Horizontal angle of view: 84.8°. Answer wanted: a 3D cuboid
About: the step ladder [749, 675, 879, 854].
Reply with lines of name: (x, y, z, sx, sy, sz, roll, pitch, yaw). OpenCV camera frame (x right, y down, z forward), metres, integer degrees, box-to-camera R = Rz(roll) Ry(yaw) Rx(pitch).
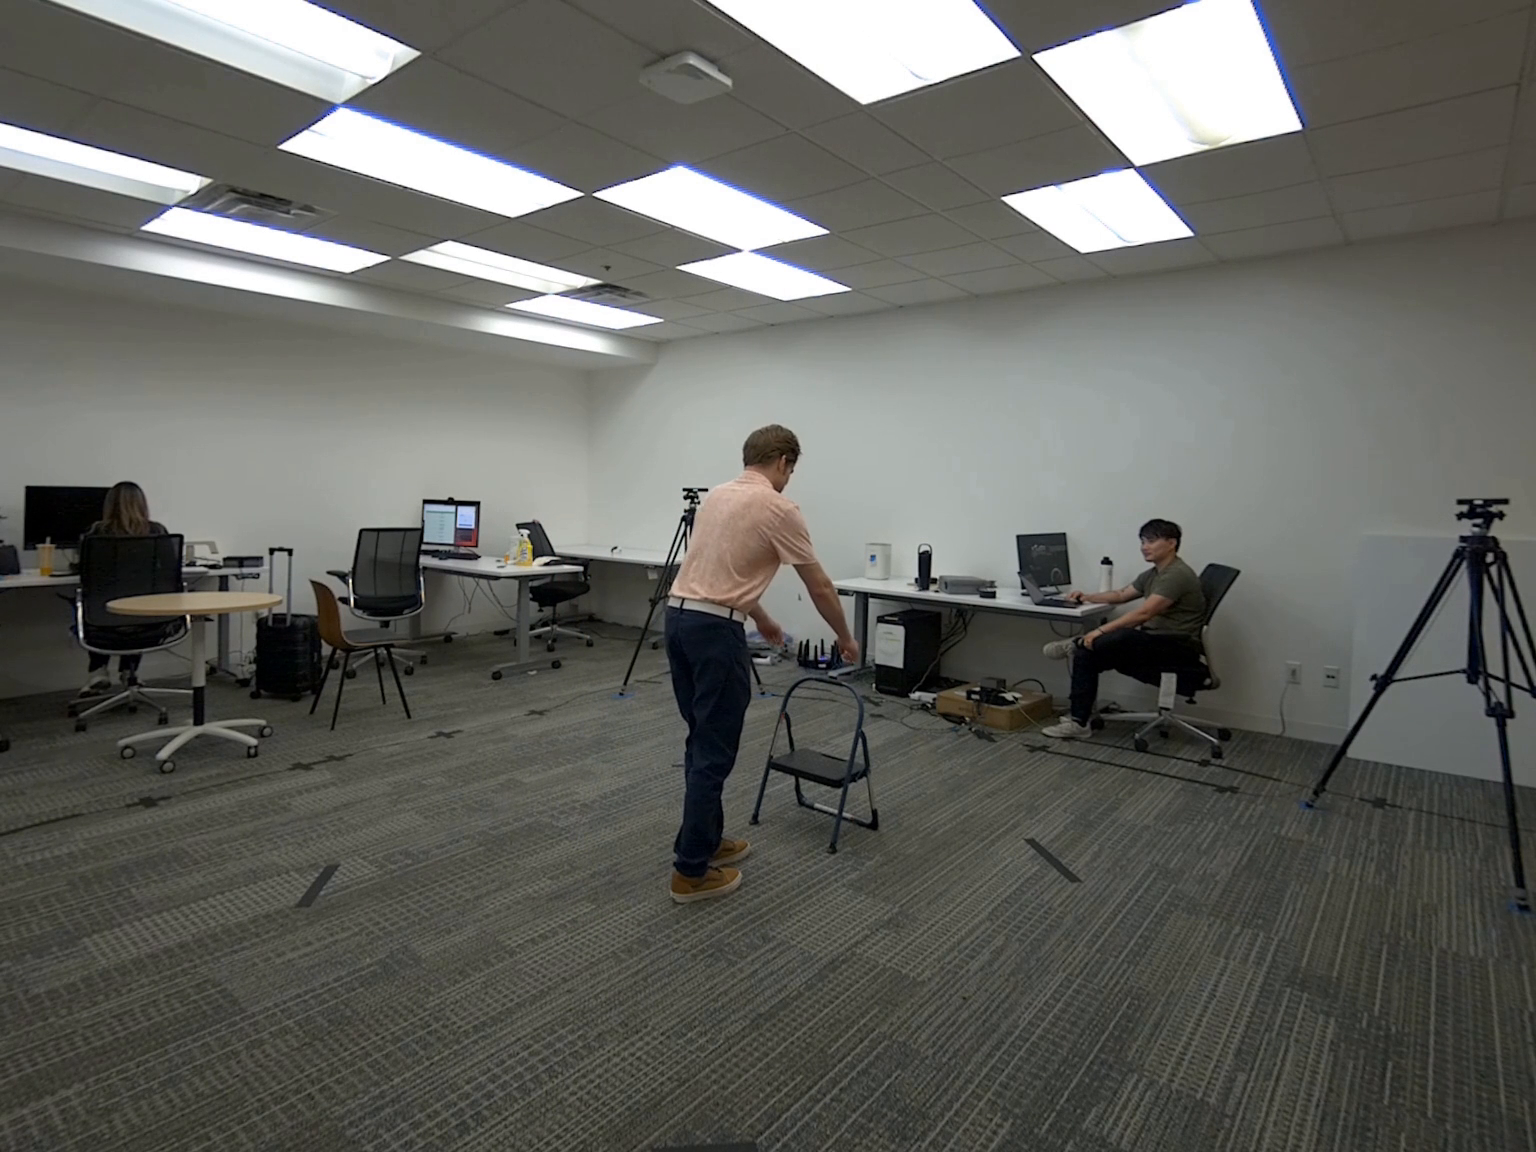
step ladder: (0.191, 0.735, 3.520, 0.445, 0.604, 0.339, 5, 5, 40)
